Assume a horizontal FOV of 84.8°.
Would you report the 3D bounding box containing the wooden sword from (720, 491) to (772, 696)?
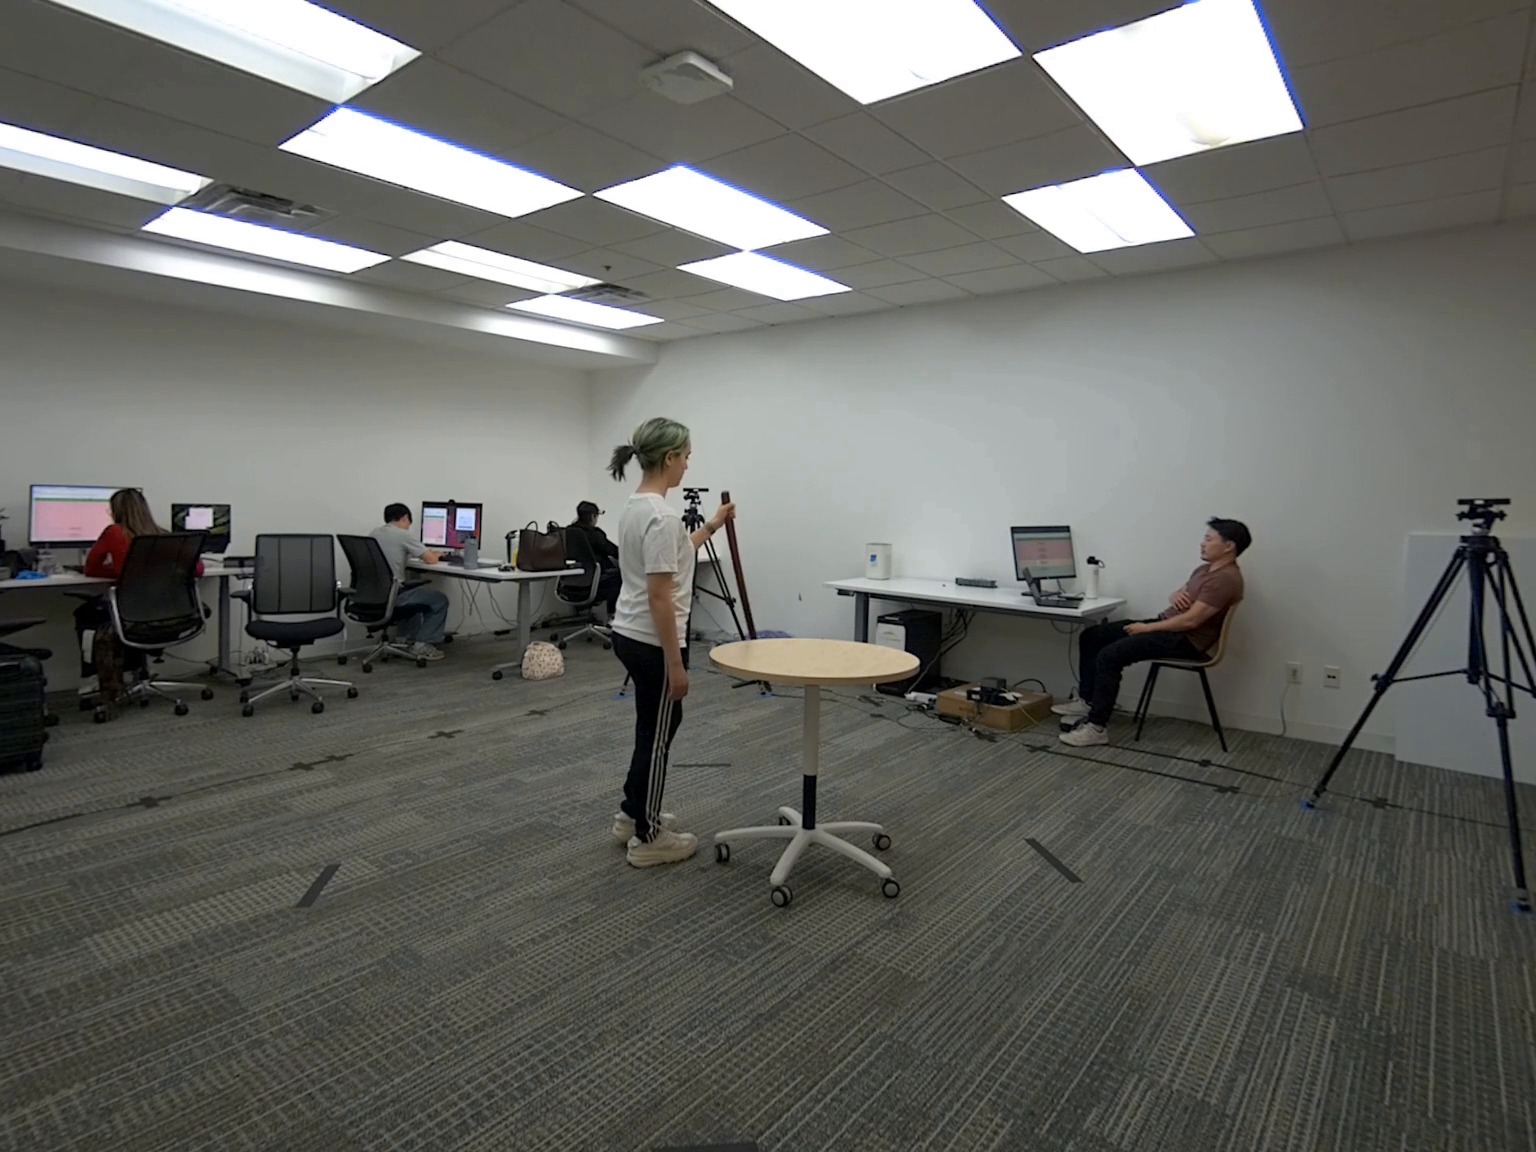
[{"bbox_3d":[-0.106,0.115,3.670,0.051,0.998,0.025,-12,25,-2],"label":"wooden sword"}]
